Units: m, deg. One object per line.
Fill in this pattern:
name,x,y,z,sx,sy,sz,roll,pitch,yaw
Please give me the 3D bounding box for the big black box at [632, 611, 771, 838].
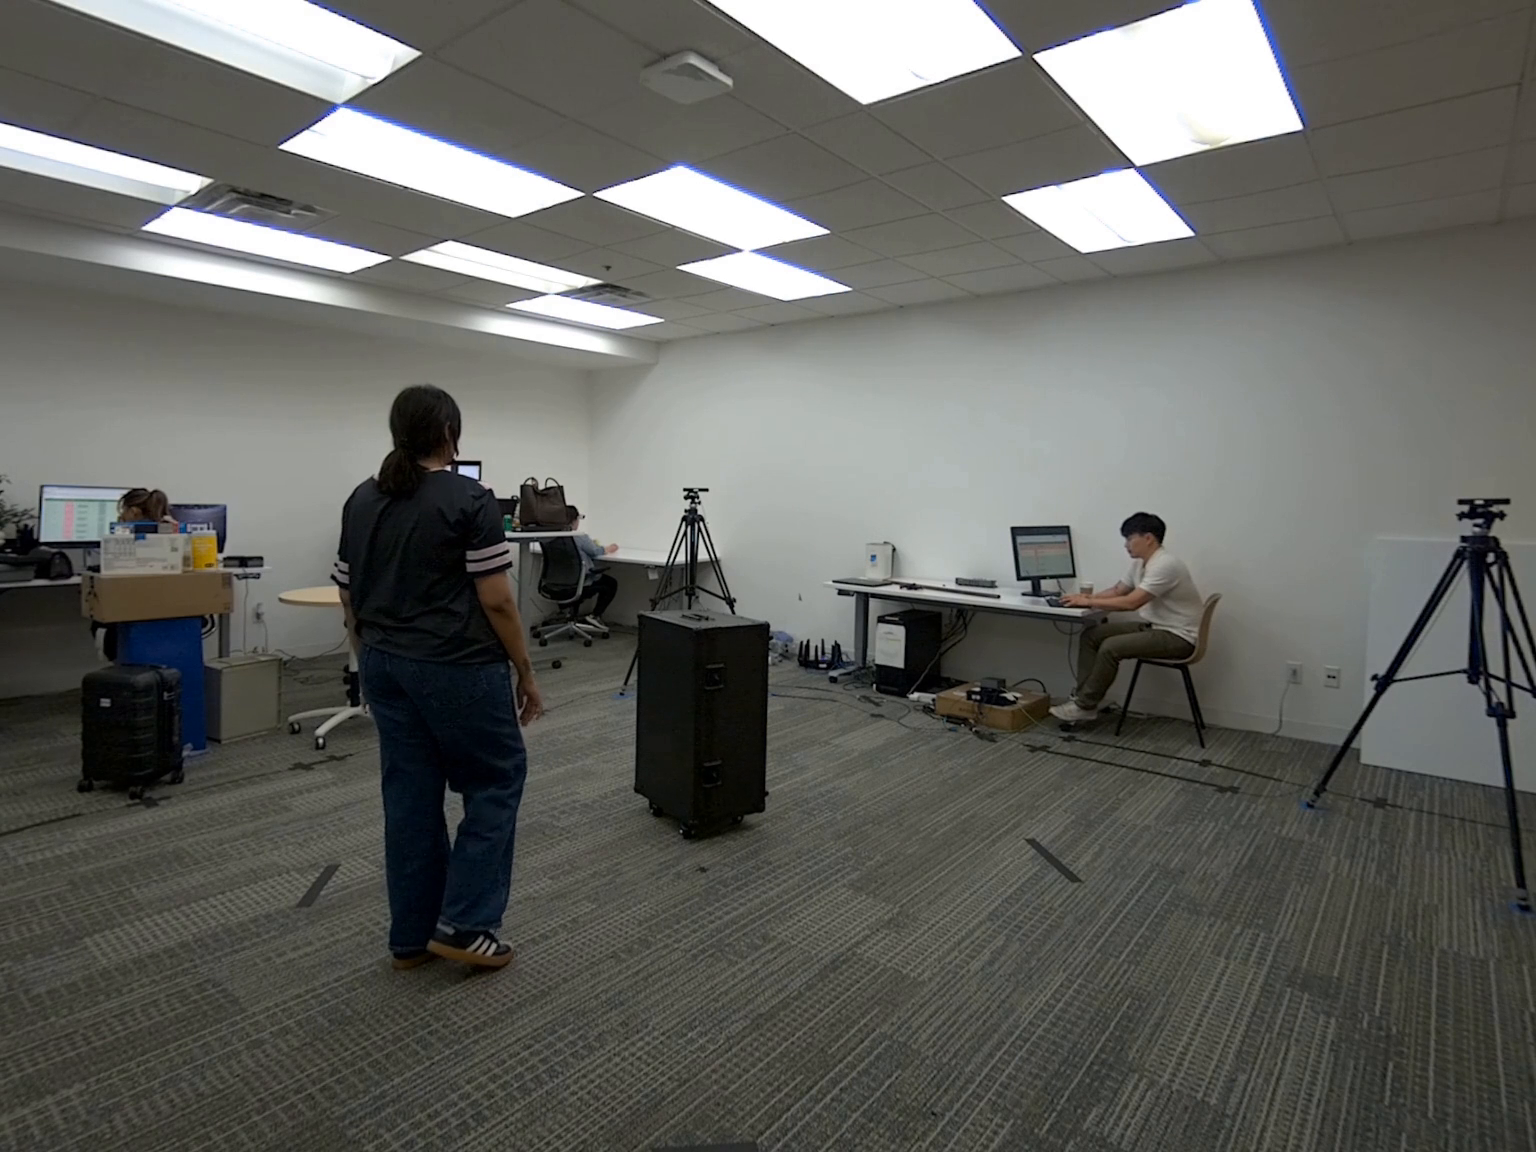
big black box,-0.301,0.598,3.590,0.374,0.866,0.541,-1,4,-36
